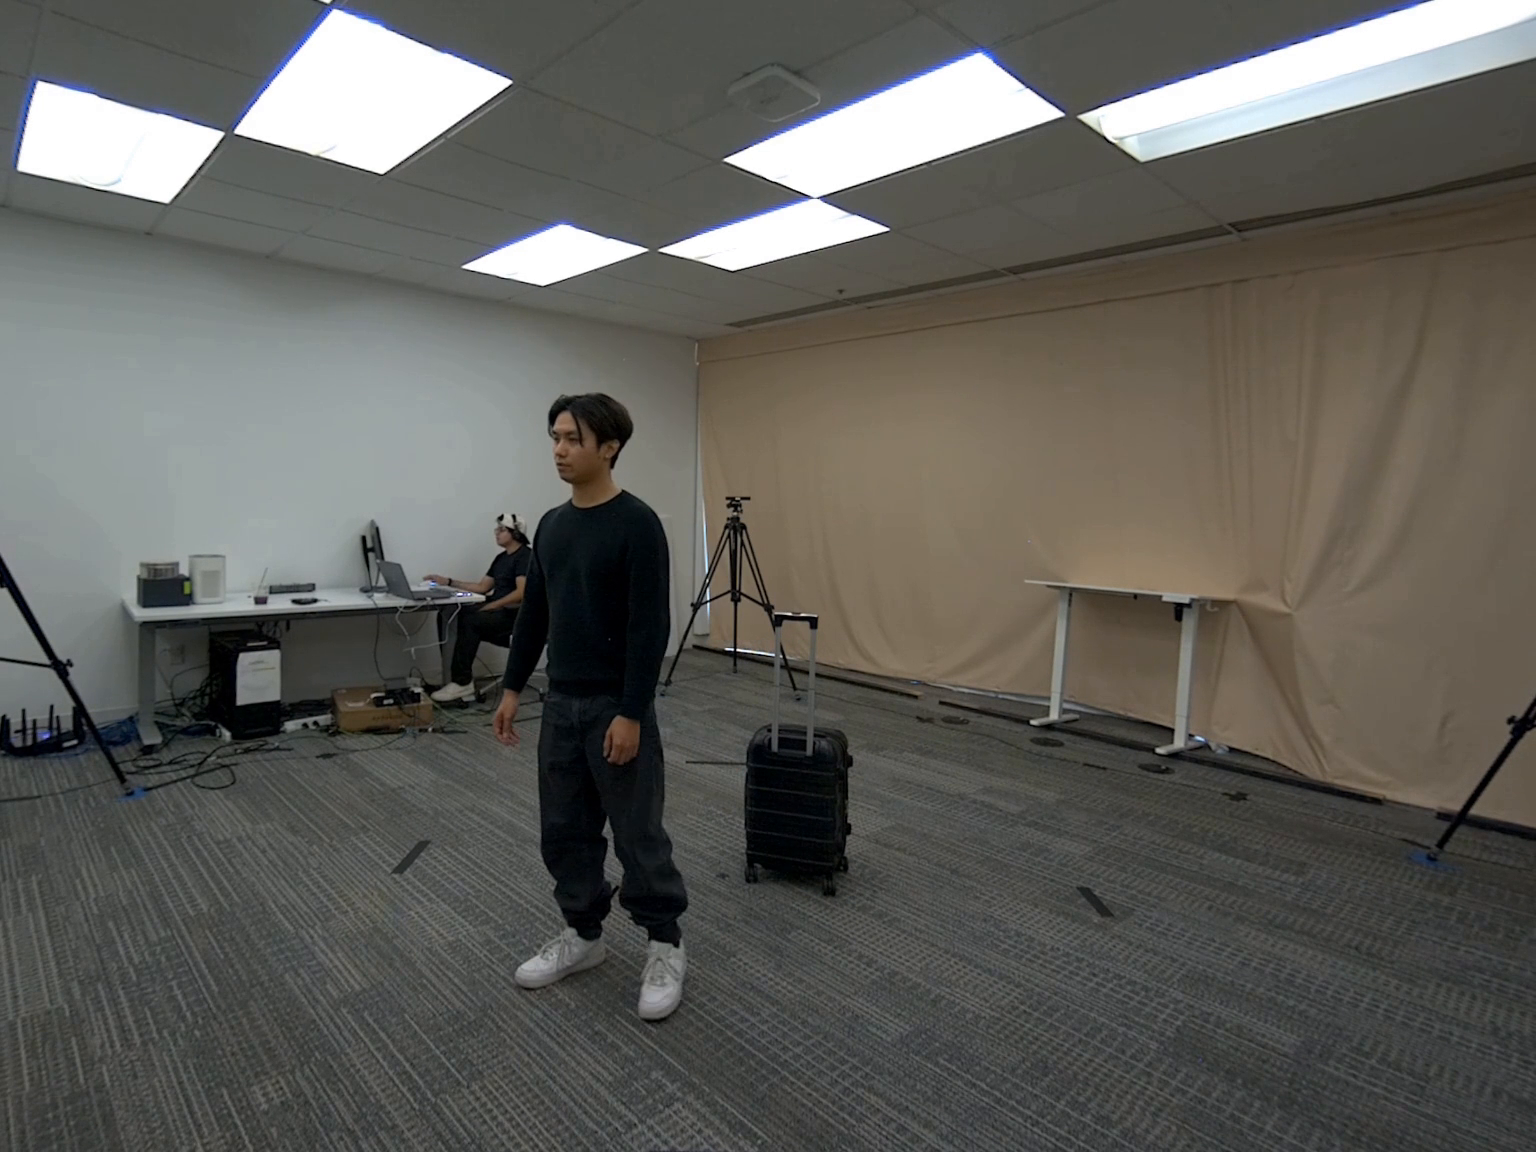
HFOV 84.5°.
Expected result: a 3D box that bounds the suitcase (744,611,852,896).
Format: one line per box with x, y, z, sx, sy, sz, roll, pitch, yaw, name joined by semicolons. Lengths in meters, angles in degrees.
0.107;0.631;3.127;0.389;0.979;0.253;2;0;17;suitcase
